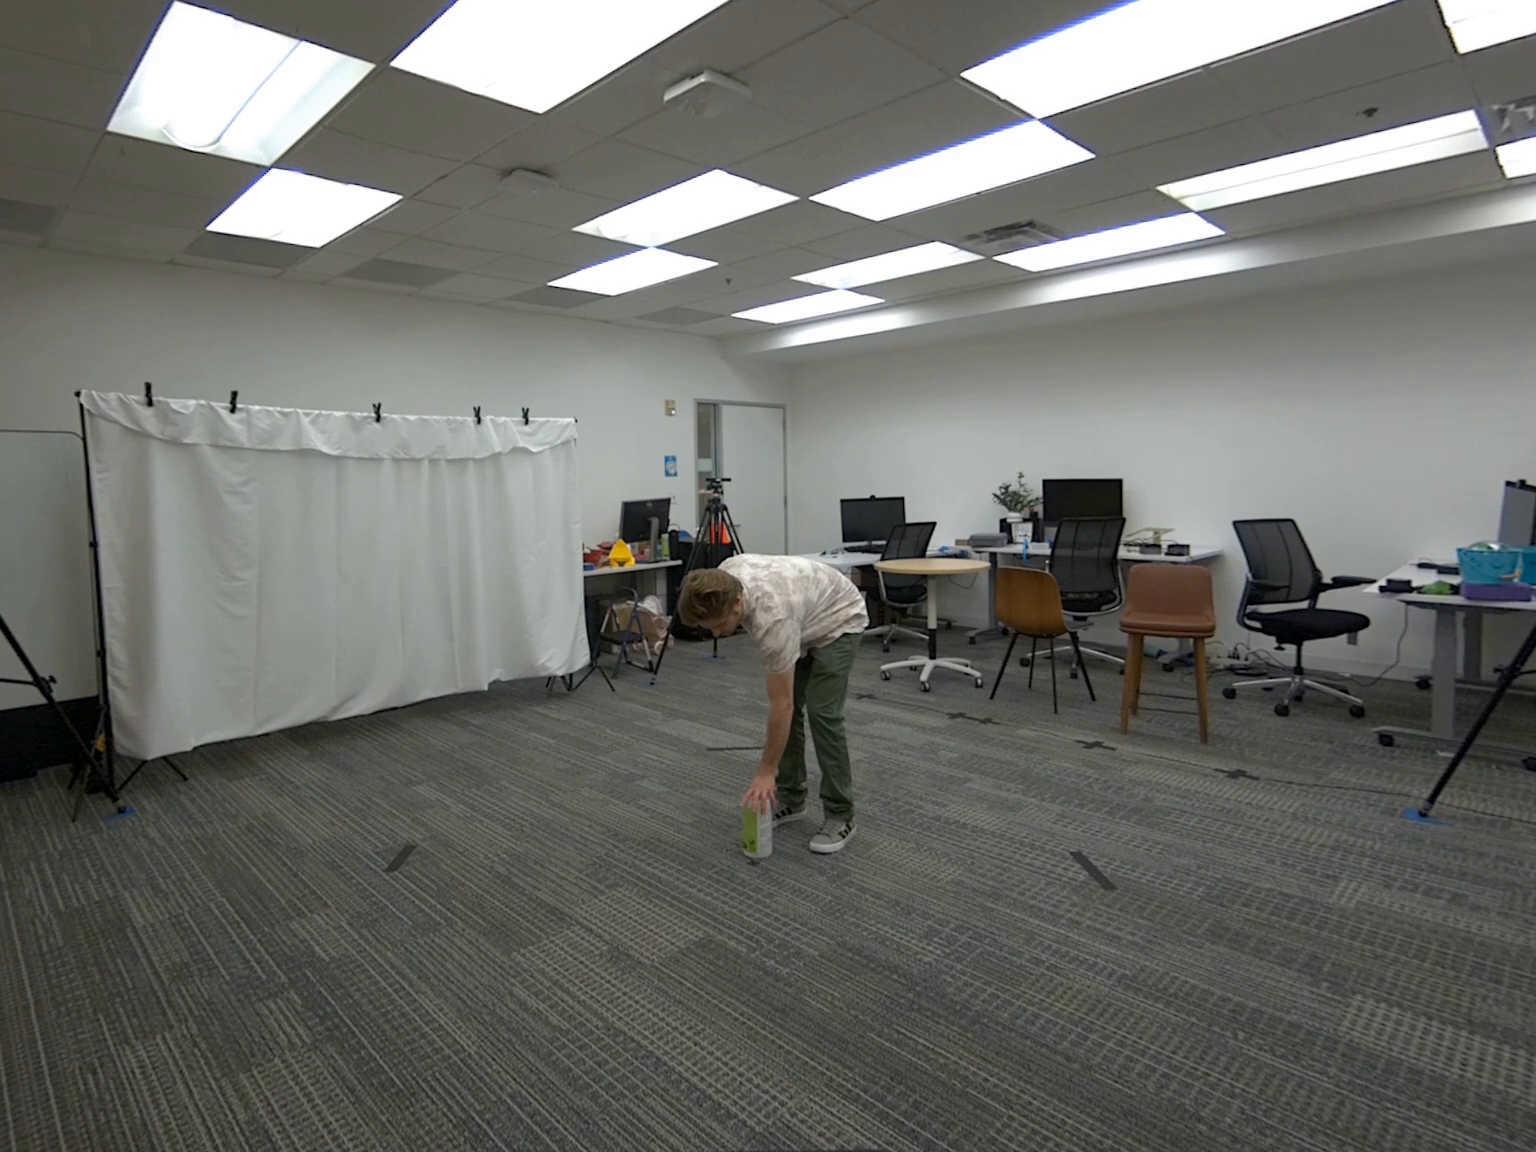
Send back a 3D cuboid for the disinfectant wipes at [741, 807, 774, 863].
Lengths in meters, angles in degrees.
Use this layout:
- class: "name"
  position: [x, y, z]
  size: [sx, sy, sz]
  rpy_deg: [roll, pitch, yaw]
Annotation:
- class: "disinfectant wipes"
  position: [-0.037, 0.931, 3.185]
  size: [0.118, 0.217, 0.118]
  rpy_deg: [-1, 4, -2]
